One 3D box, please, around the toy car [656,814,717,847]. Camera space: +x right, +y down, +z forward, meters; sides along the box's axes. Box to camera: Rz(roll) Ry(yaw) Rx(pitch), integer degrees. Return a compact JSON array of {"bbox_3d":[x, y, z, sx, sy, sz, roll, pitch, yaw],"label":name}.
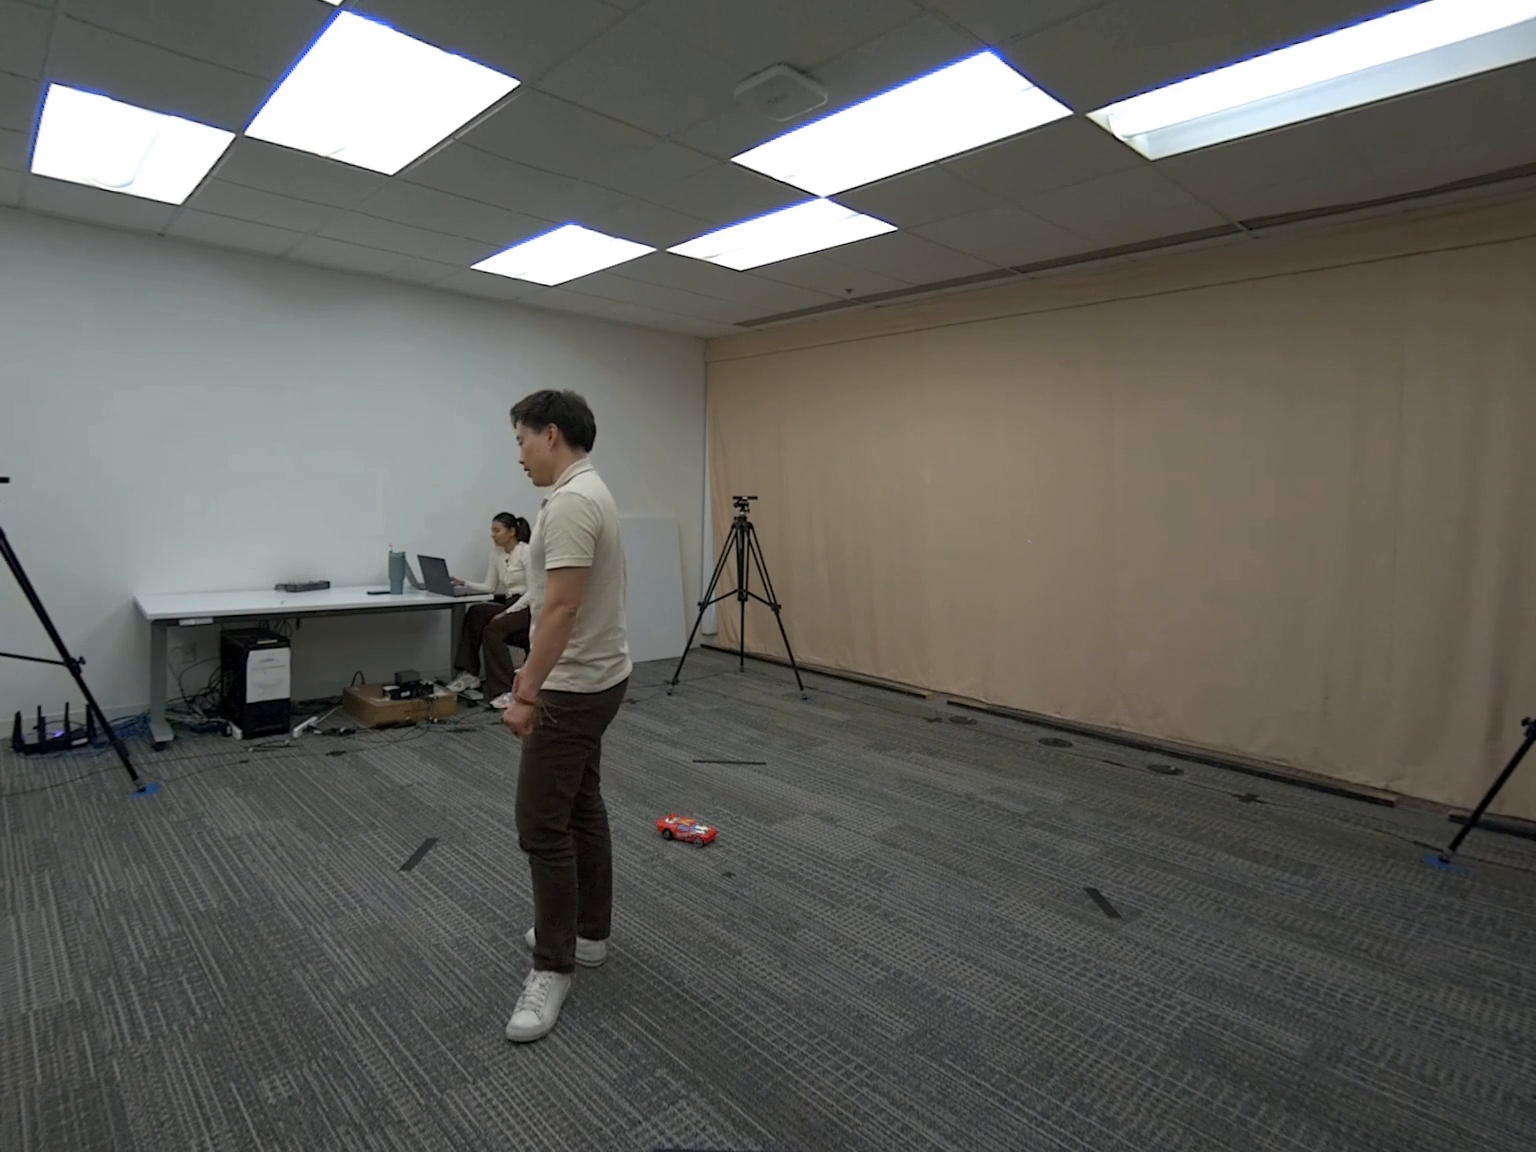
[{"bbox_3d":[-0.346,1.035,3.426,0.260,0.083,0.128,16,11,25],"label":"toy car"}]
